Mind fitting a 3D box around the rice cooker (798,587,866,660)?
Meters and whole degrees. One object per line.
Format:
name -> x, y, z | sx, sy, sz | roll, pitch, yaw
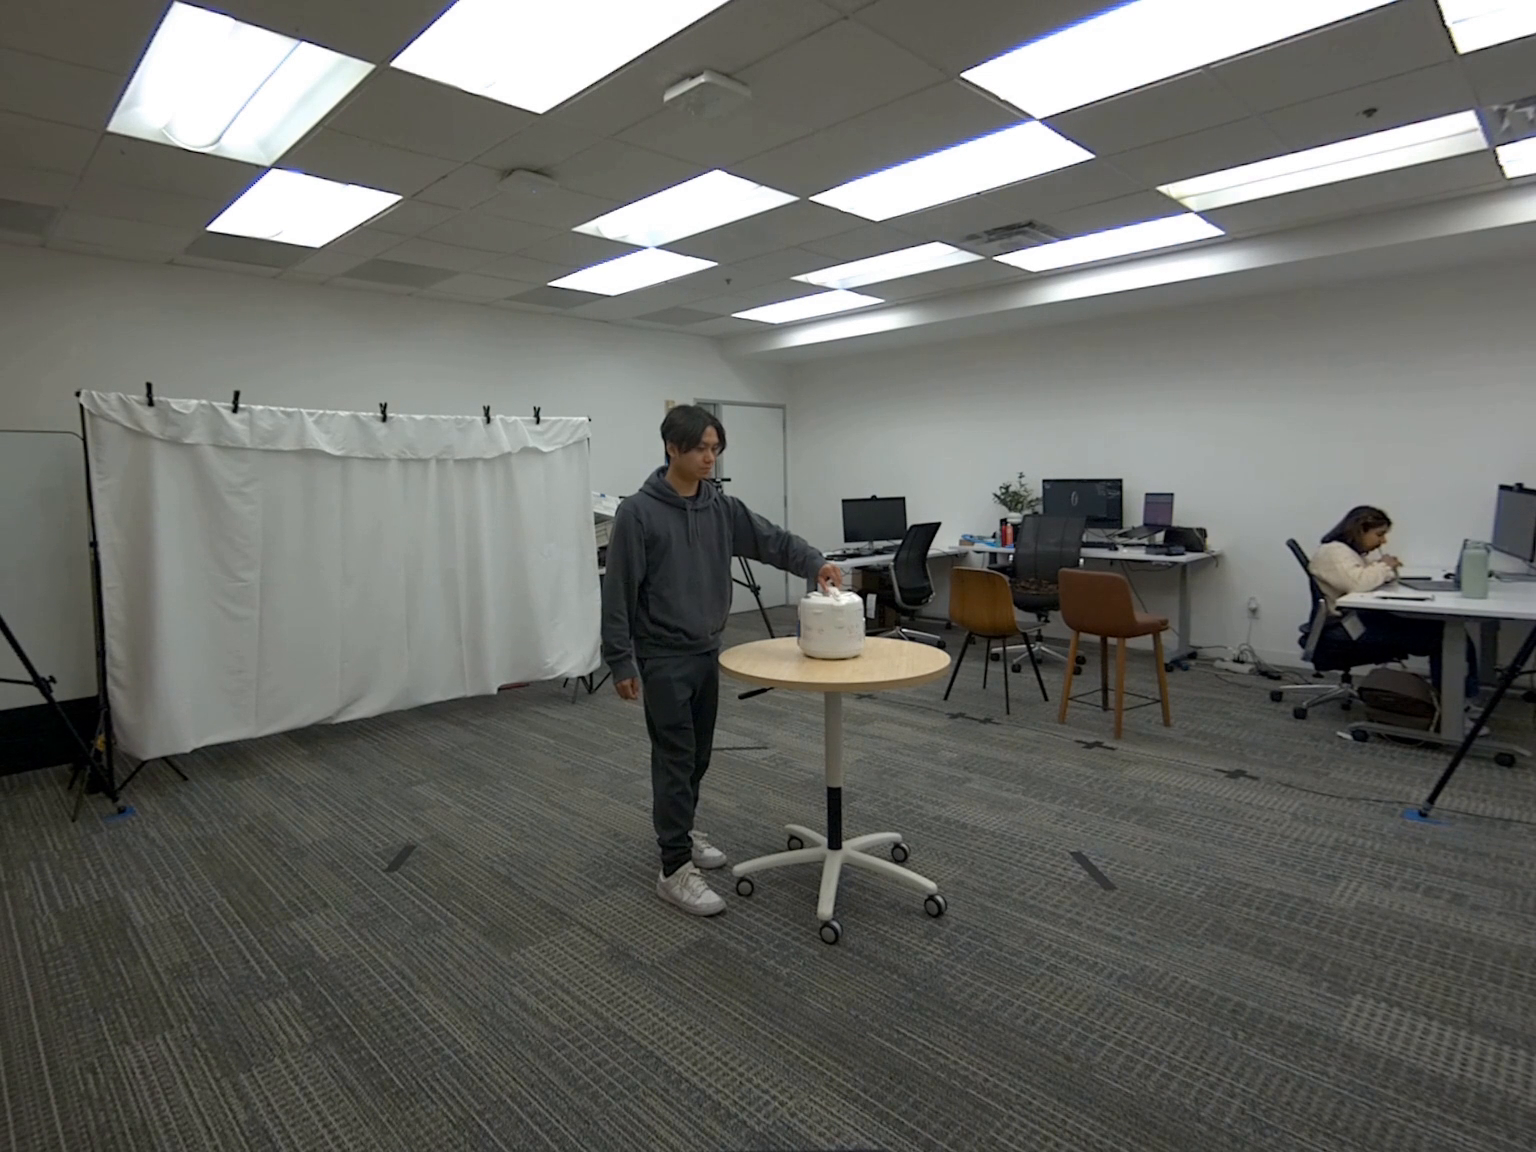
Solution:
rice cooker -> 0.212, 0.149, 2.870 | 0.216, 0.232, 0.223 | -2, 5, -8
